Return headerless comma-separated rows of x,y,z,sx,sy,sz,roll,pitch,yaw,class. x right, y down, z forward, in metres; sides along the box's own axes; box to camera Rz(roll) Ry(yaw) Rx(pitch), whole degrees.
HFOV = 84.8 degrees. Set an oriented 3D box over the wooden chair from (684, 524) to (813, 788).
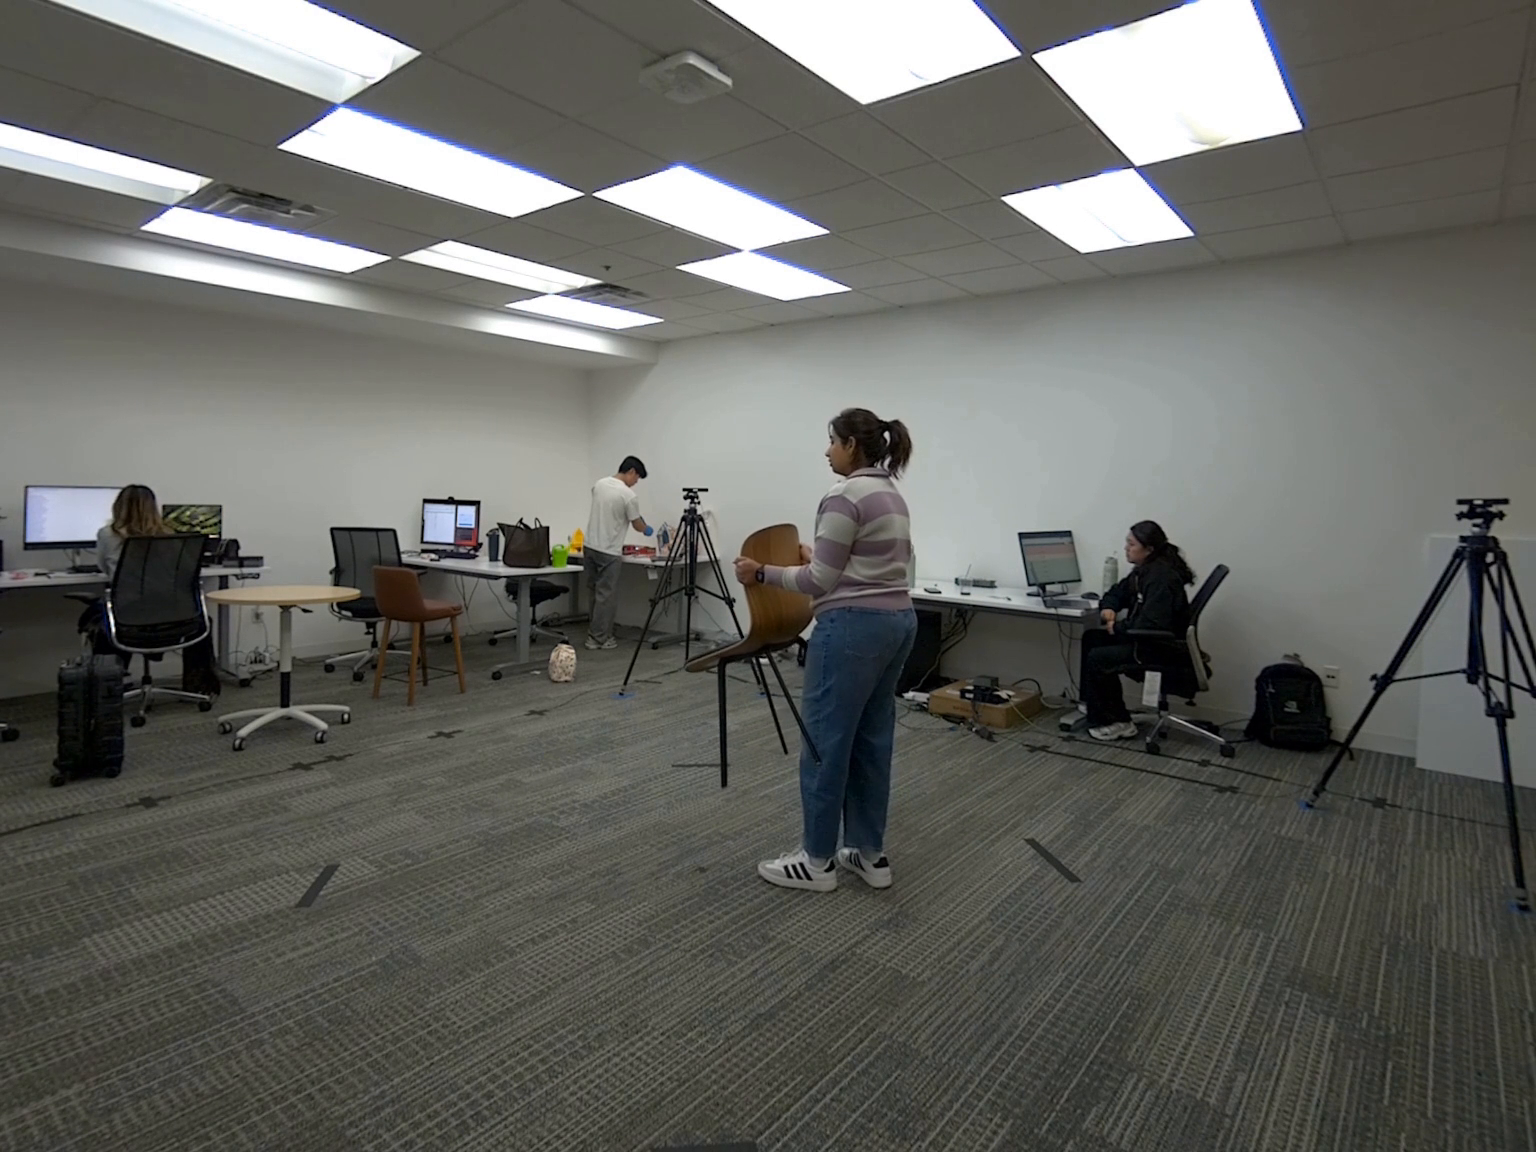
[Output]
-0.047,0.292,3.289,0.533,0.884,0.466,-20,-6,35,wooden chair
